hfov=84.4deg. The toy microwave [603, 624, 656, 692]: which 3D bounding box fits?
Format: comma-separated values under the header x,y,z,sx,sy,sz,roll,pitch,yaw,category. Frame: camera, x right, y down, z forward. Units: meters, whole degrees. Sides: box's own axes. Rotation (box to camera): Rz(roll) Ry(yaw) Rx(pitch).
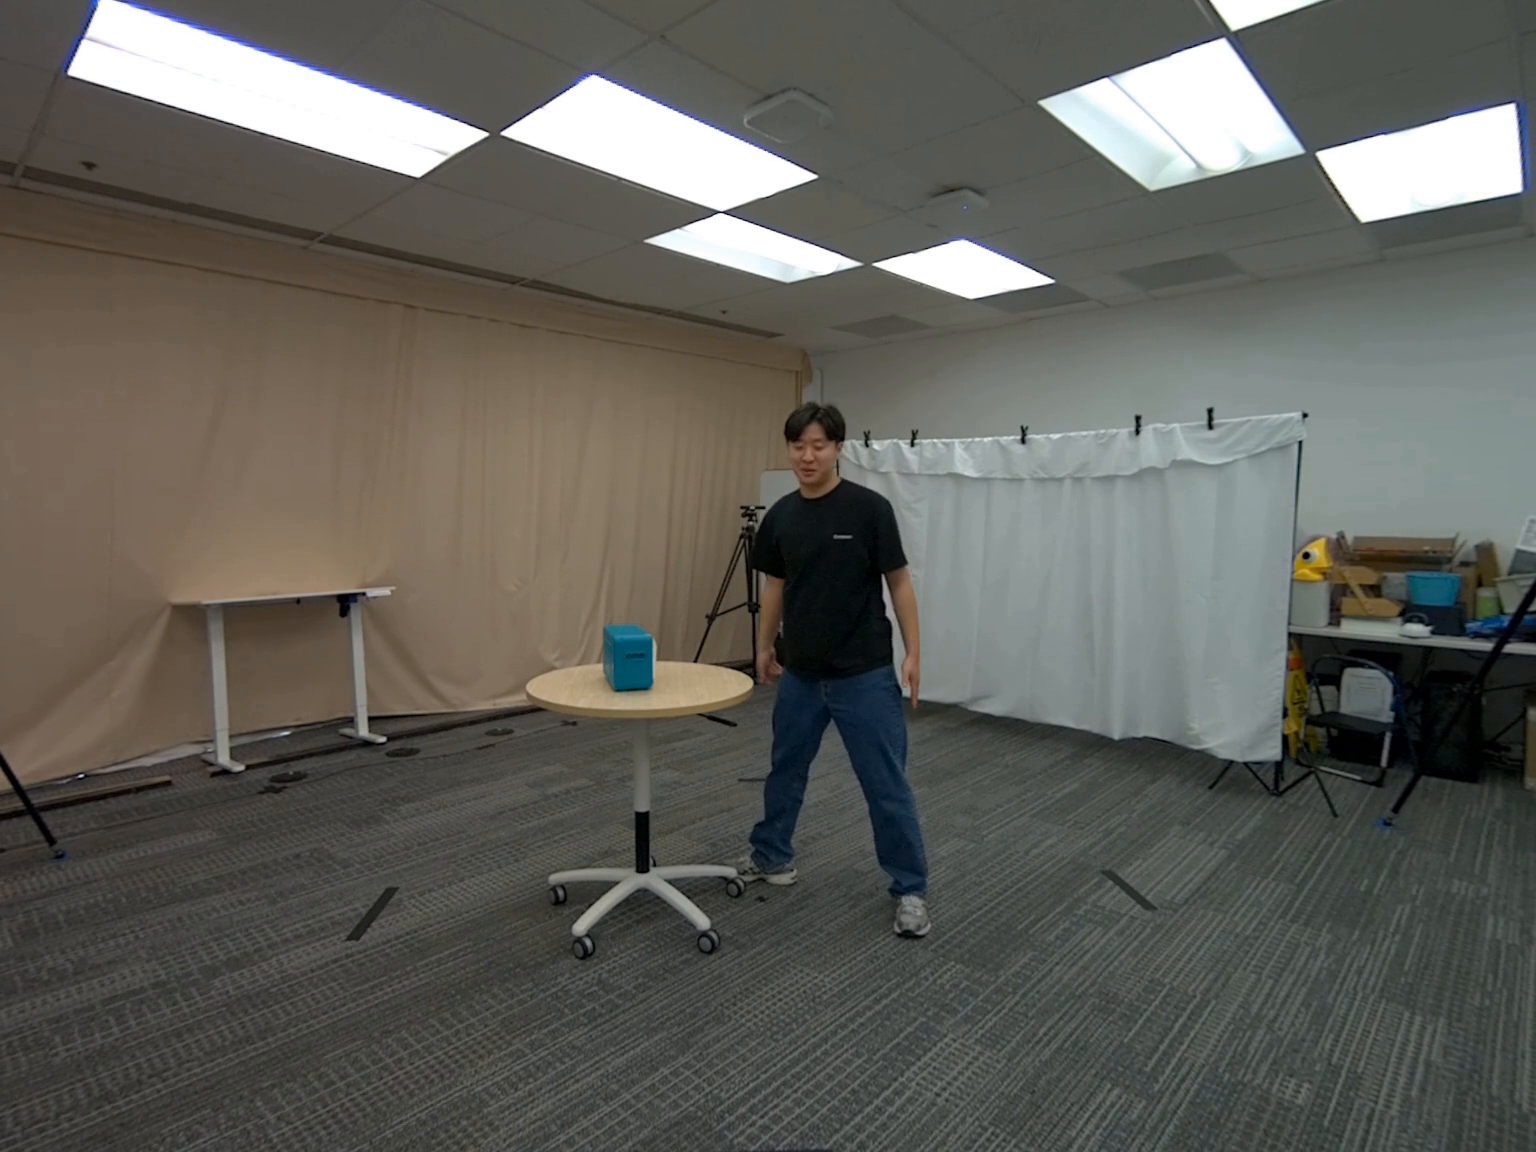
x,y,z,sx,sy,sz,roll,pitch,yaw,category
-0.464,0.273,2.842,0.150,0.184,0.291,1,4,-17,toy microwave
